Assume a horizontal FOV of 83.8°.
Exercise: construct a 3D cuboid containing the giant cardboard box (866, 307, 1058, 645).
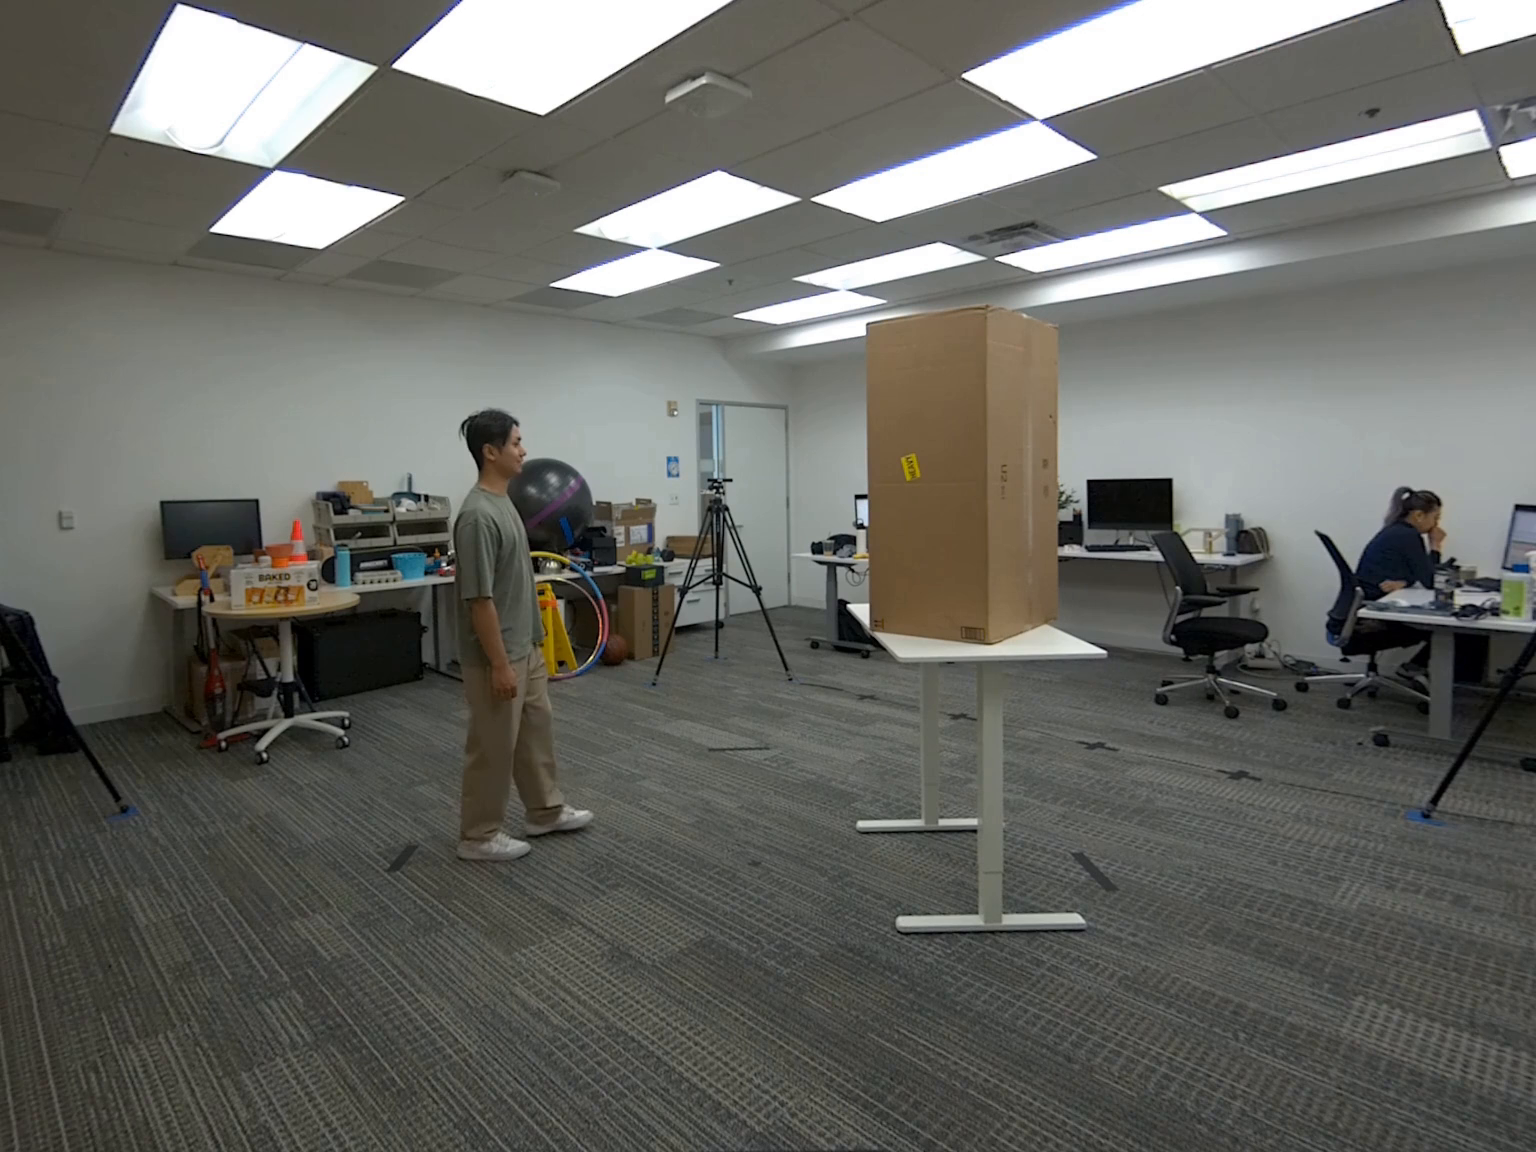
[{"bbox_3d":[0.669,-0.338,2.904,0.439,1.022,0.563,2,5,40],"label":"giant cardboard box"}]
